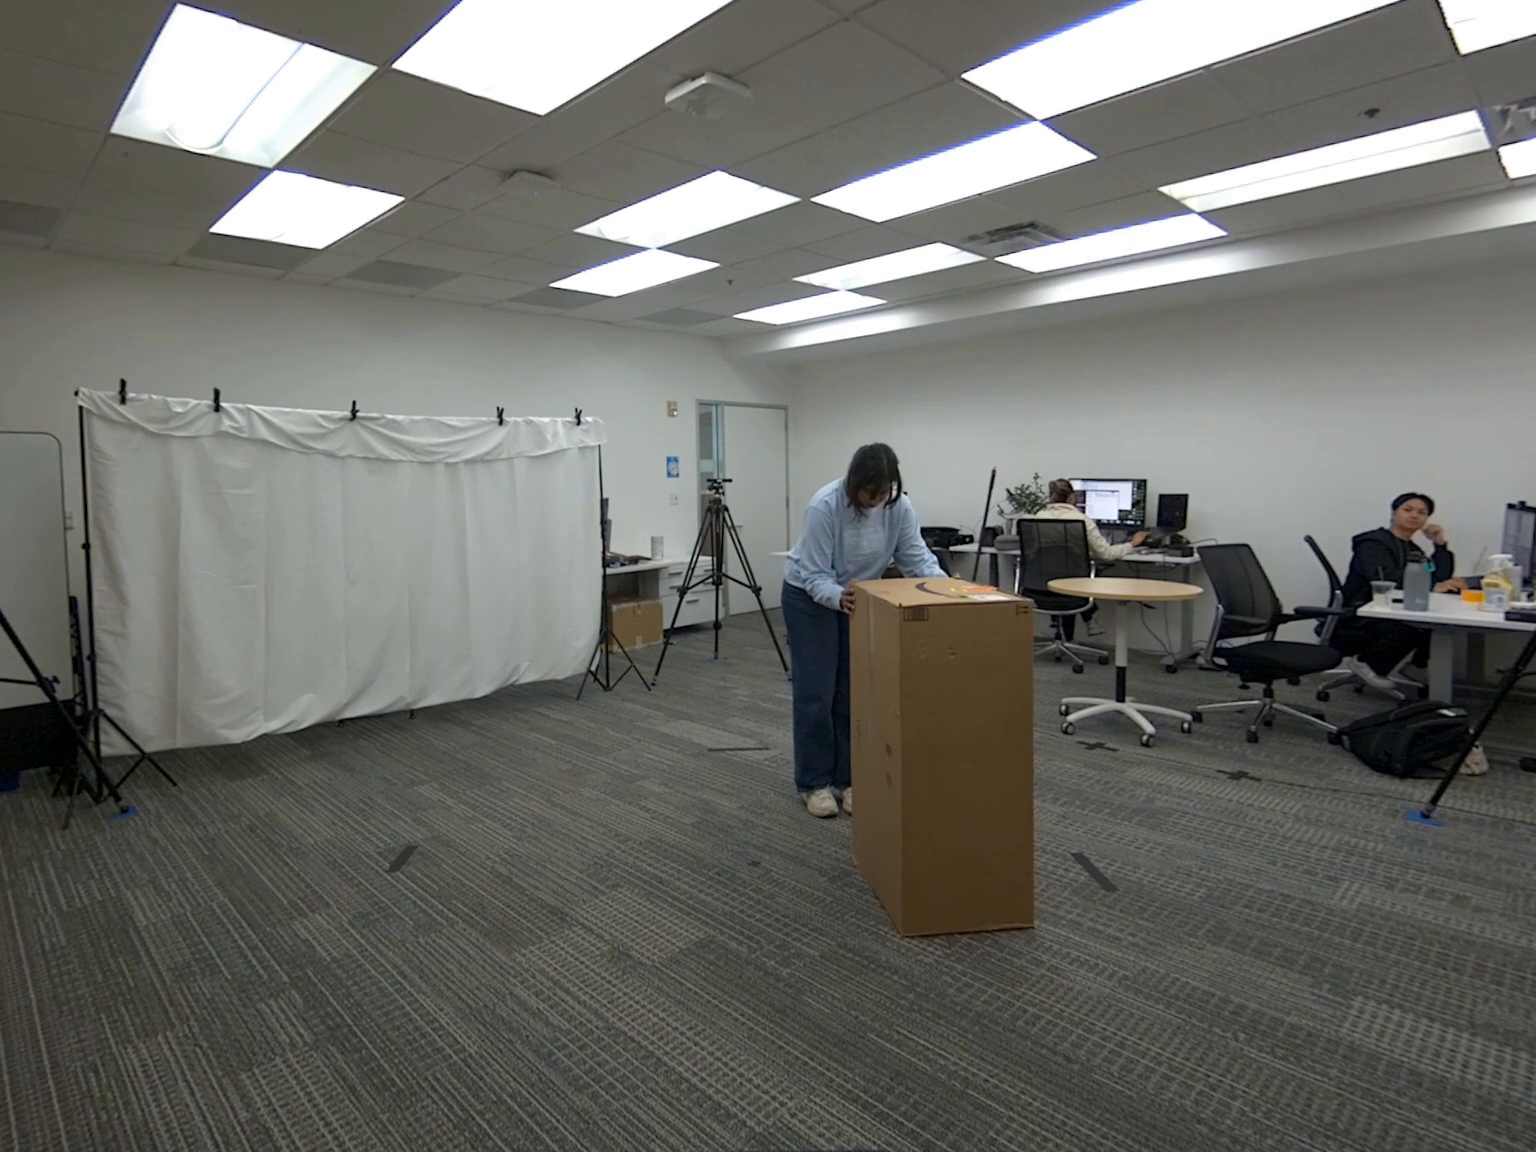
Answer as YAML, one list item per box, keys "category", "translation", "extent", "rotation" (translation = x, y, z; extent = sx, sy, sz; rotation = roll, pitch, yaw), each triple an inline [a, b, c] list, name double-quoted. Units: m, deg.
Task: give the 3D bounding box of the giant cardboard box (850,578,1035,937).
- category: "giant cardboard box"
  translation: [0.559, 0.558, 2.860]
  extent: [0.423, 1.022, 0.584]
  rotation: [-2, 4, -9]
